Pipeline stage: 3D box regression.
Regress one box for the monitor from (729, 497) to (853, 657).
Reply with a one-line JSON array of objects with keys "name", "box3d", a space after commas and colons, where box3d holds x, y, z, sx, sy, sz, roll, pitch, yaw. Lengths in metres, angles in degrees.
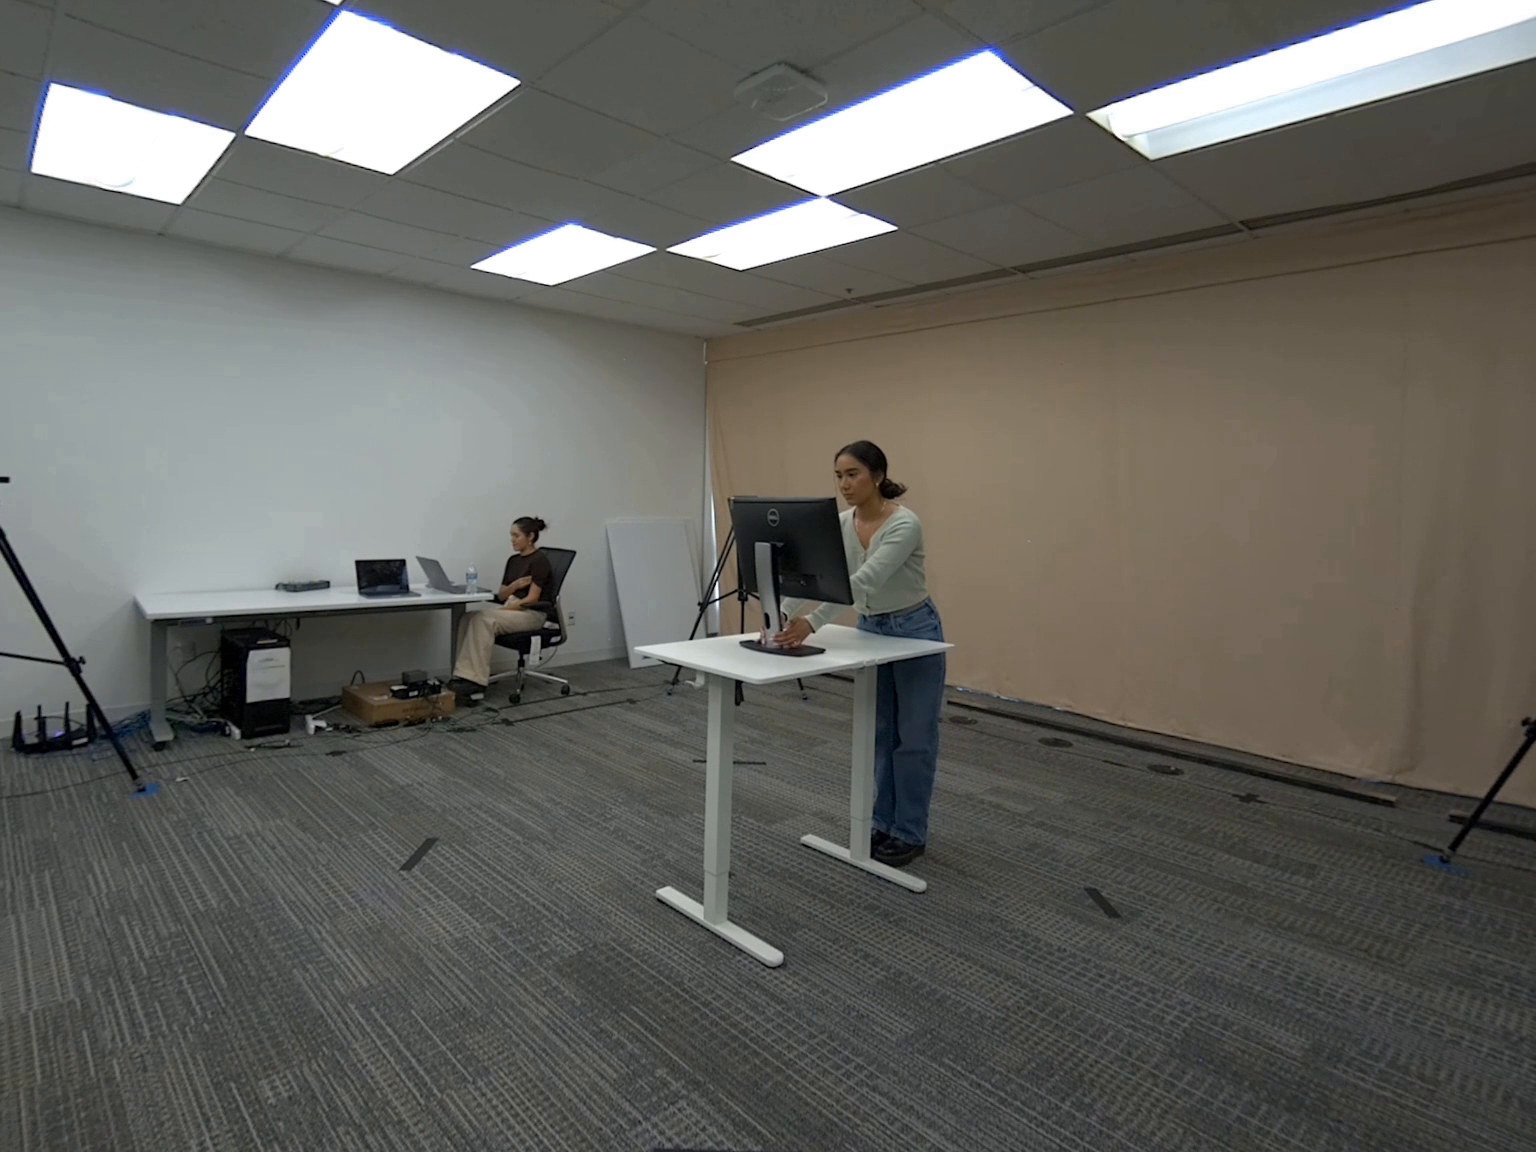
[{"name": "monitor", "box3d": [0.036, -0.003, 2.822, 0.183, 0.521, 0.552, -3, 5, -40]}]
